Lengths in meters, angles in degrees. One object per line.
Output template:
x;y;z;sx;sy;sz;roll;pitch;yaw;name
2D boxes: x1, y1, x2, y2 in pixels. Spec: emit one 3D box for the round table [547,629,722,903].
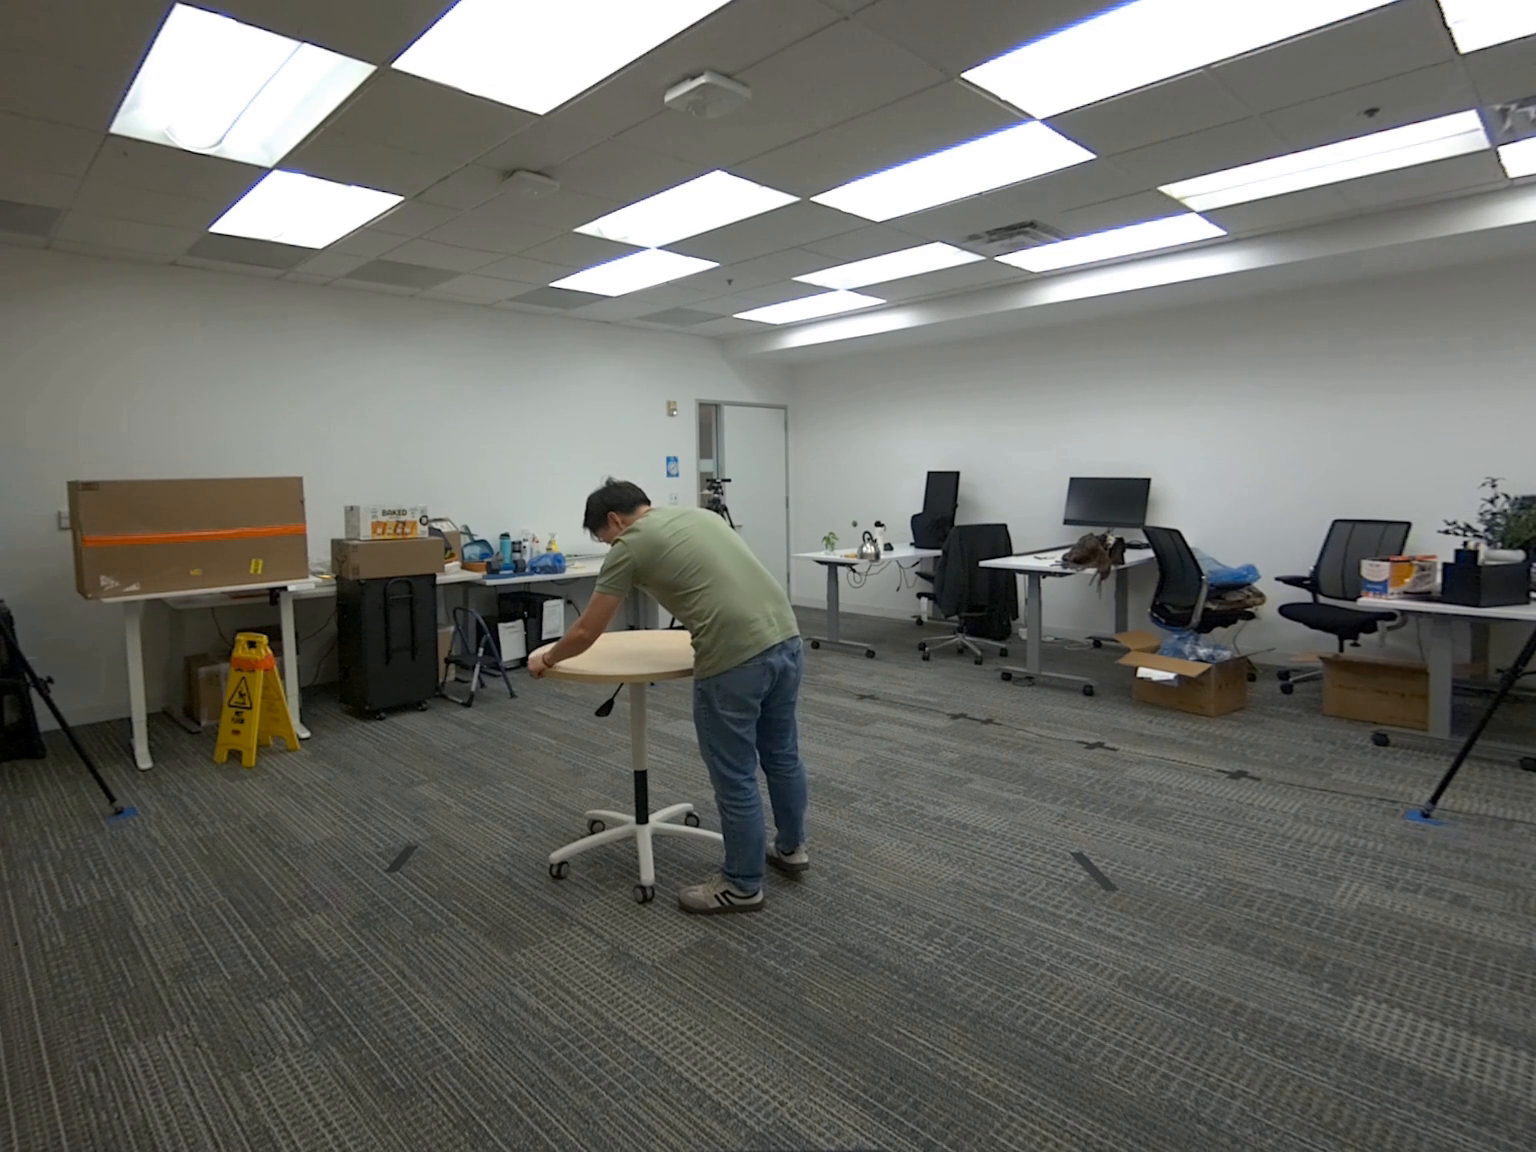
-0.462;0.660;3.135;0.763;0.791;0.768;-2;5;-2;round table
